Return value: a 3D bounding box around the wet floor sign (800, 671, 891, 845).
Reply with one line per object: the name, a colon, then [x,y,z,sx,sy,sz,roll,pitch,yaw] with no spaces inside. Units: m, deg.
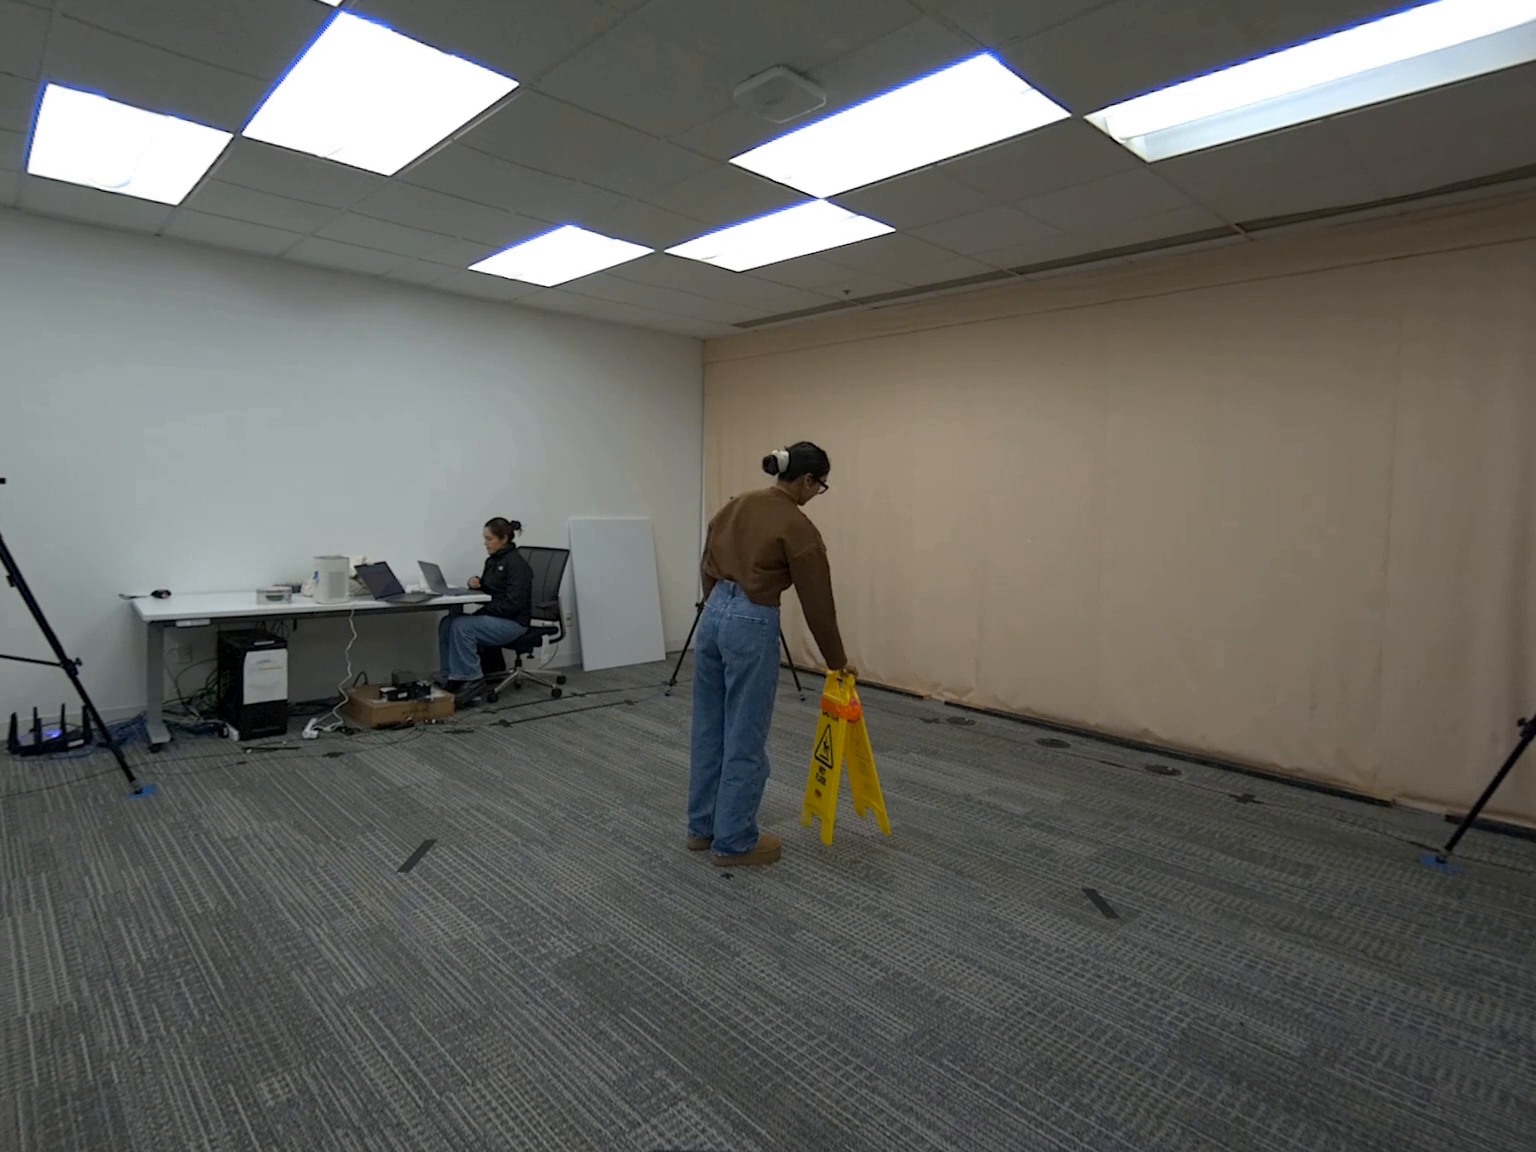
wet floor sign: [0.292,0.702,3.382,0.285,0.644,0.287,-2,3,-20]
